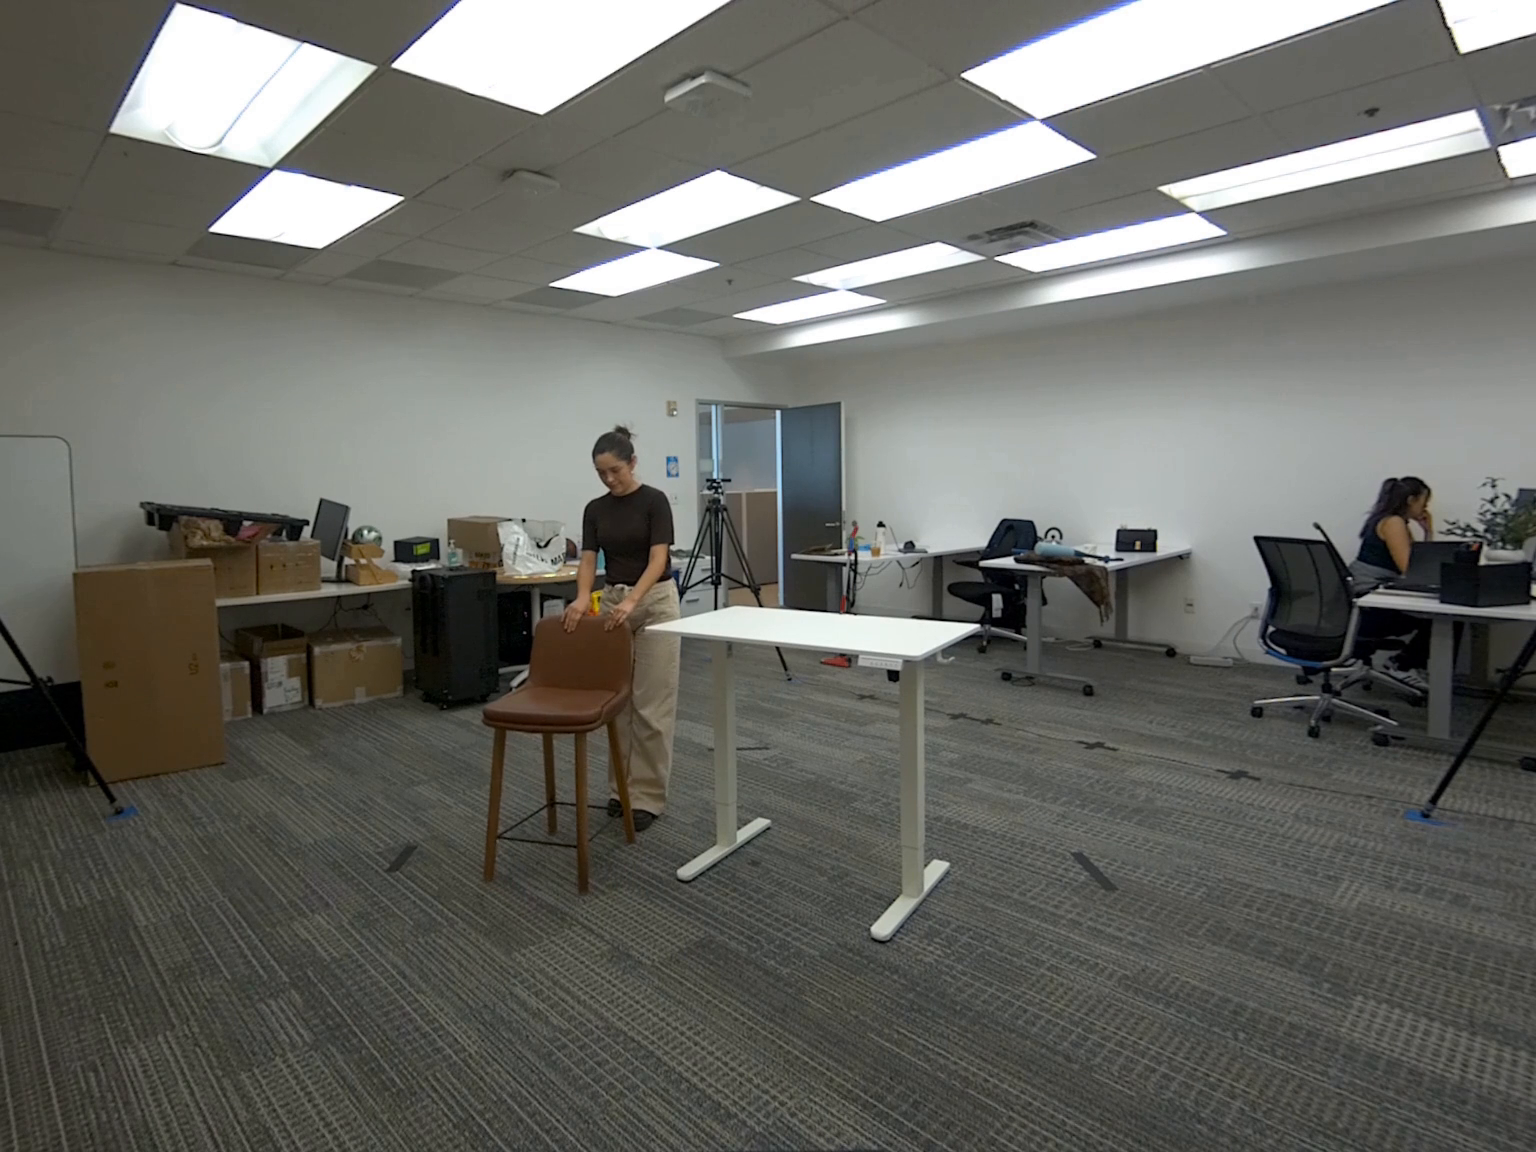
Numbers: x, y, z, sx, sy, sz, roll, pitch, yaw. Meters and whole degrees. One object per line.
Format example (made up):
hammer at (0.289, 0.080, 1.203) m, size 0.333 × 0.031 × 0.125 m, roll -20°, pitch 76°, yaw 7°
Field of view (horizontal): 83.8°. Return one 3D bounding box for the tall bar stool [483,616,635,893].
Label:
tall bar stool at (-0.757, 0.615, 3.147) m, size 0.464 × 0.889 × 0.460 m, roll 0°, pitch 1°, yaw 17°
